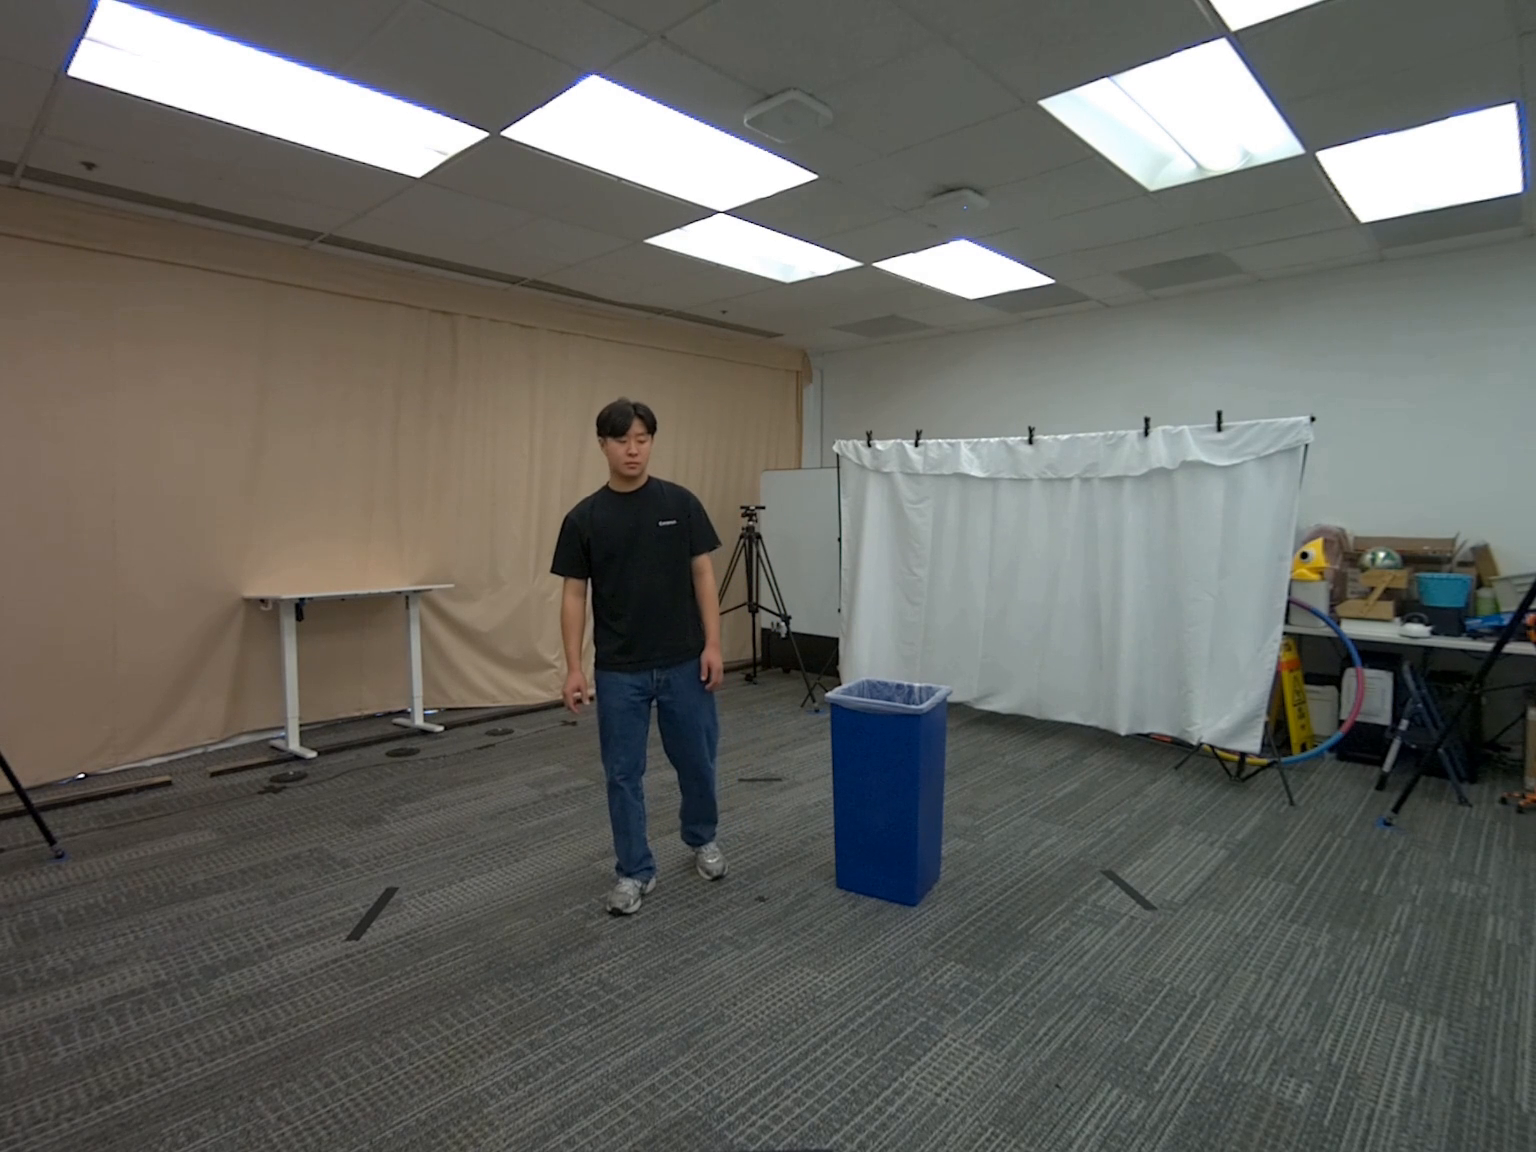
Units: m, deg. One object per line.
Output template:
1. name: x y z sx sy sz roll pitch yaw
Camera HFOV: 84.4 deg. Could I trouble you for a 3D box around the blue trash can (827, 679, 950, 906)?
1. blue trash can: 0.452 0.774 3.089 0.389 0.712 0.364 2 3 29
